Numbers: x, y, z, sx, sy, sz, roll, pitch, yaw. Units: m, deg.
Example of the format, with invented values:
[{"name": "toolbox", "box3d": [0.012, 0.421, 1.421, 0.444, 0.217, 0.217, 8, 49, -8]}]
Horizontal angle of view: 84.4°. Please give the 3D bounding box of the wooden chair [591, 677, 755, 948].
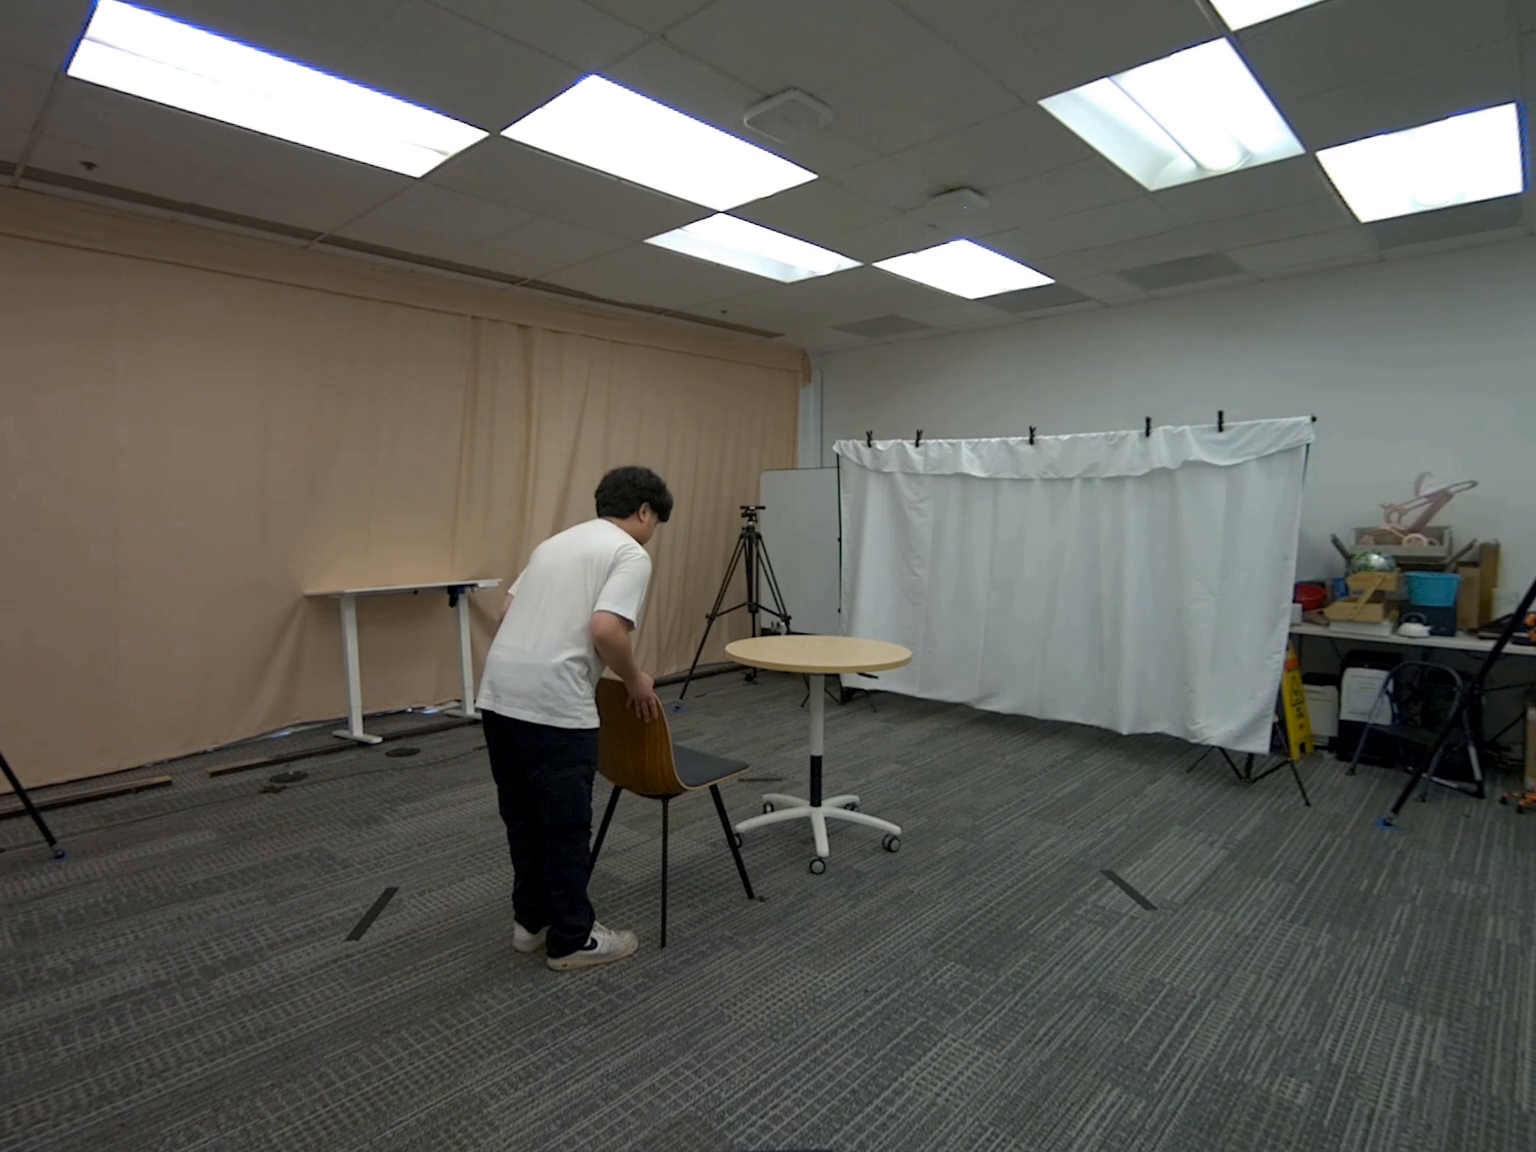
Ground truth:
[{"name": "wooden chair", "box3d": [-0.355, 0.722, 2.948, 0.494, 0.874, 0.508, 2, 8, 41]}]
